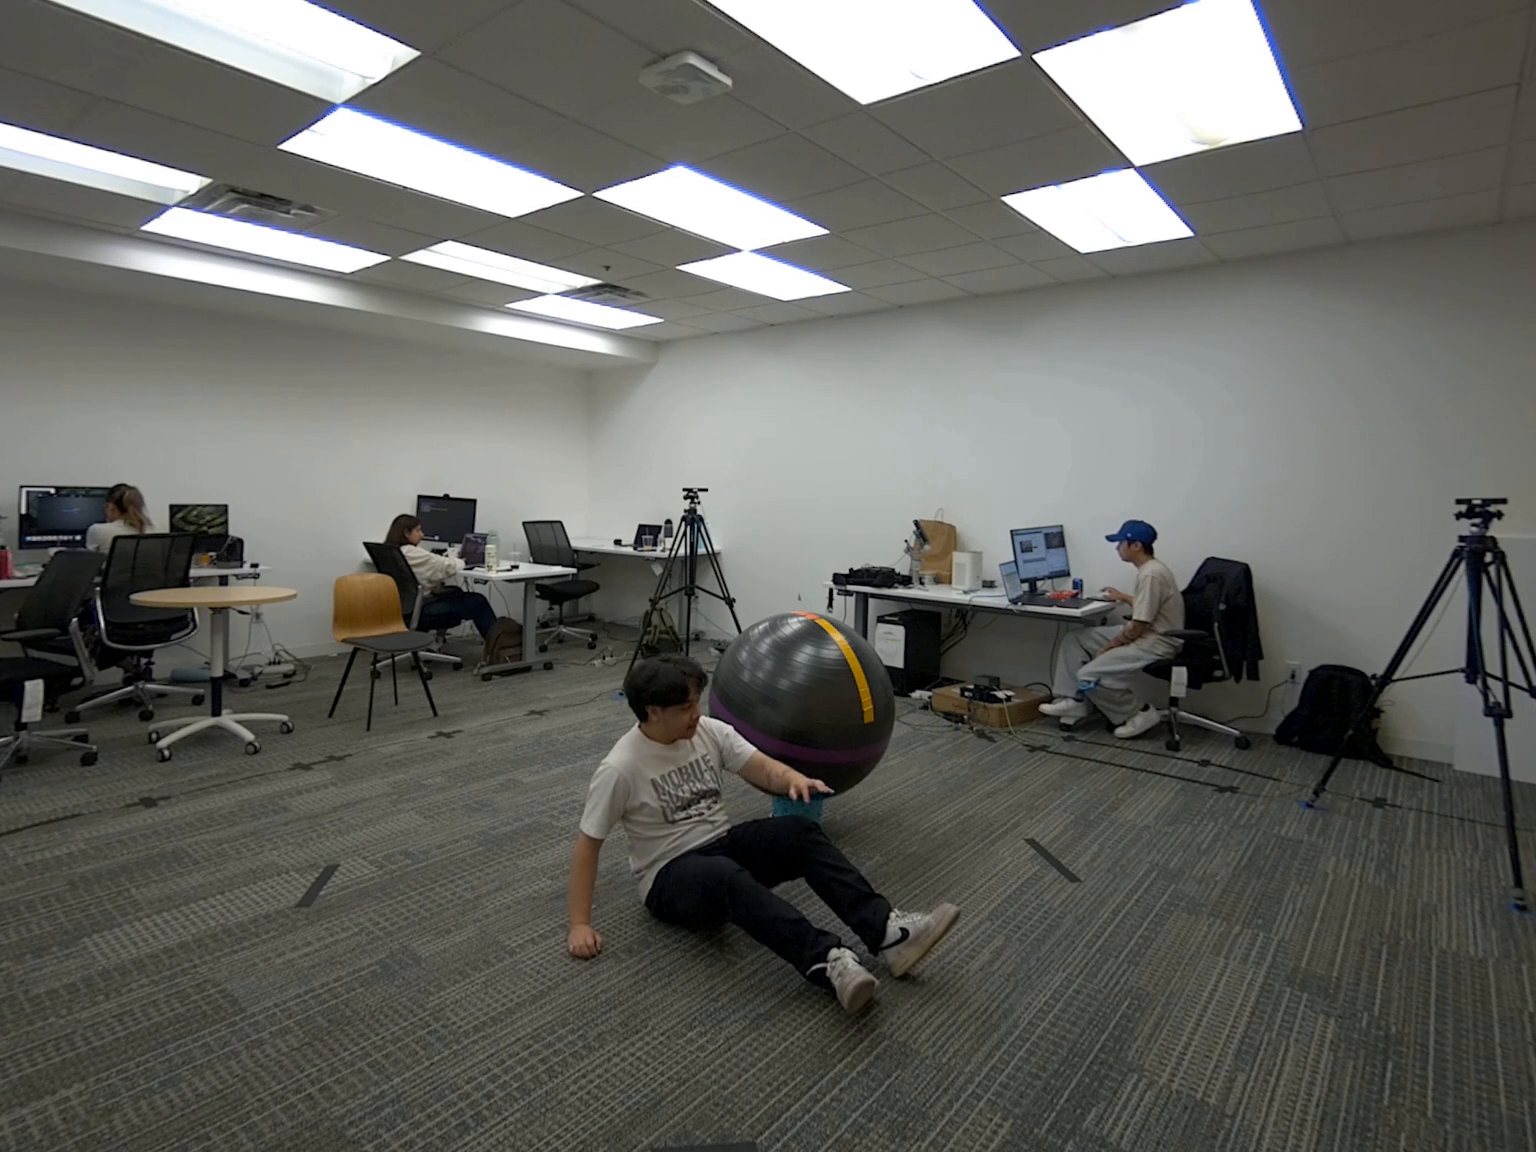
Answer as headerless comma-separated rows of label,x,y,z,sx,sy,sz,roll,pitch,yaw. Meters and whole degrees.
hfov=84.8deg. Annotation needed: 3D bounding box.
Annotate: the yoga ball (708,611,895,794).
yoga ball,0.139,0.529,3.500,0.757,0.756,0.761,1,4,-2
